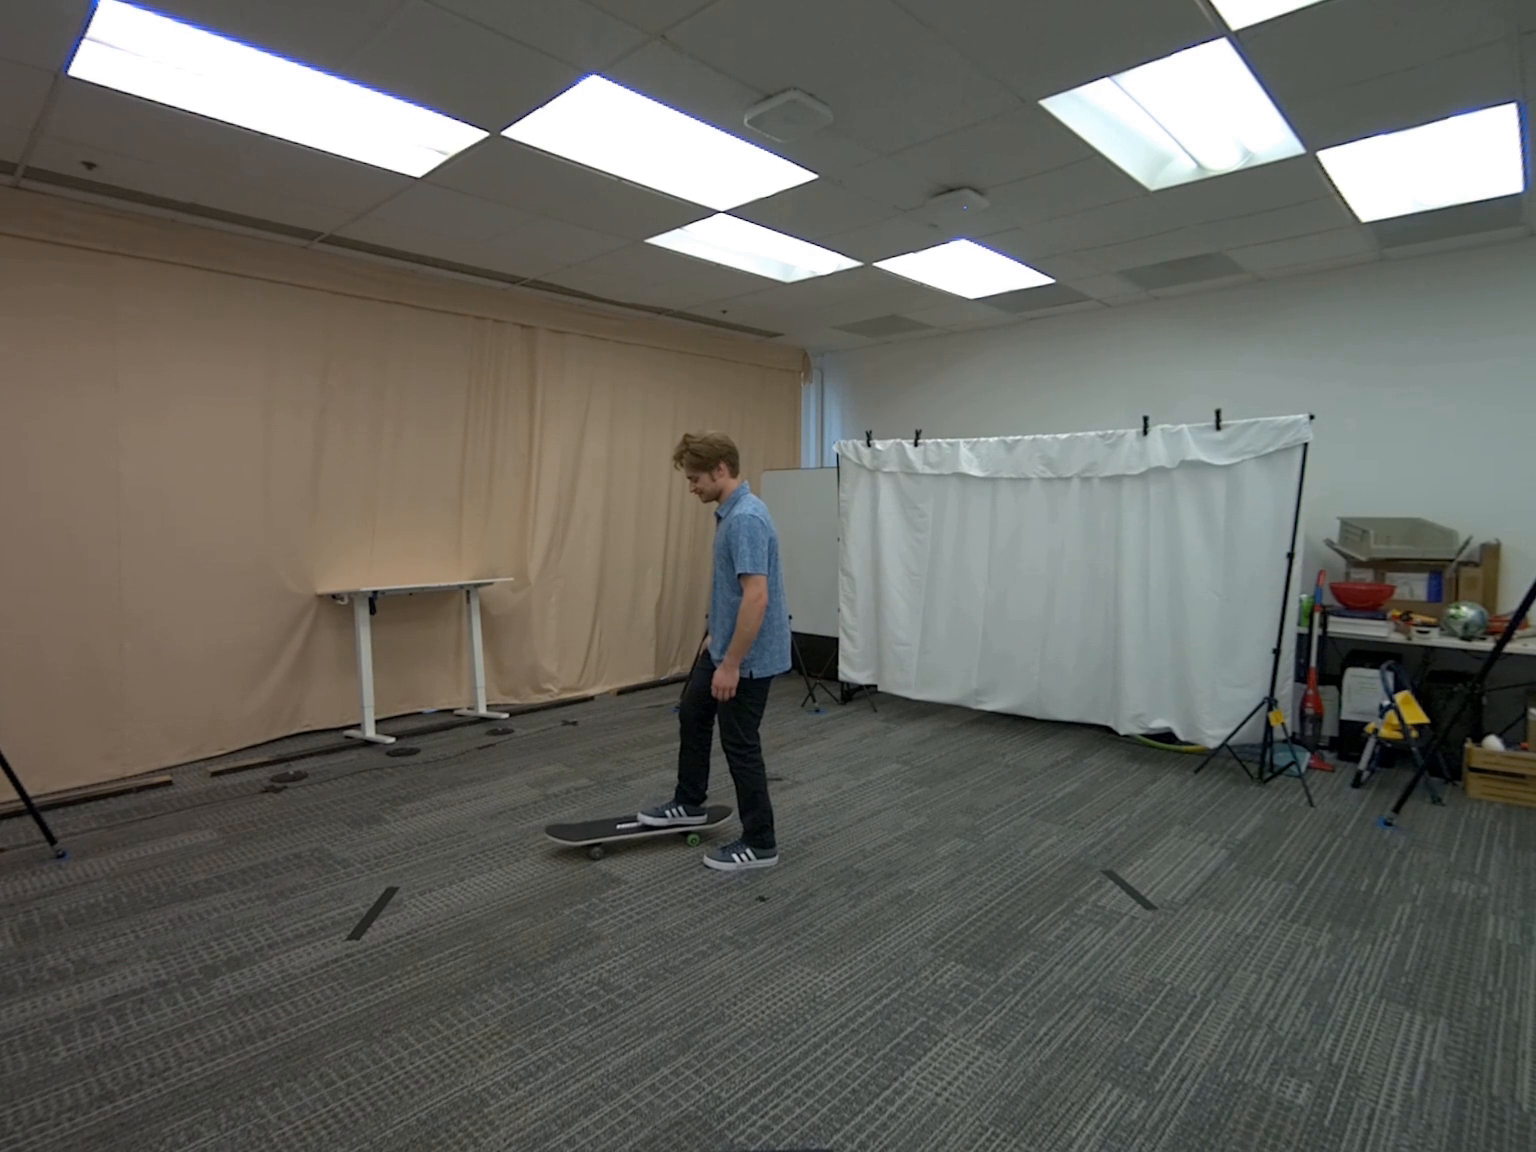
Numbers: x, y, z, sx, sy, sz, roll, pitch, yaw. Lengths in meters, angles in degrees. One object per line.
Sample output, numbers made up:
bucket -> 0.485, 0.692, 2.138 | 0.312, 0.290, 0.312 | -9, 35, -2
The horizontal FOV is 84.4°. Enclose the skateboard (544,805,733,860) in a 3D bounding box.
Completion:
skateboard -> -0.520, 1.050, 3.456 | 0.771, 0.110, 0.197 | -1, 5, -18
